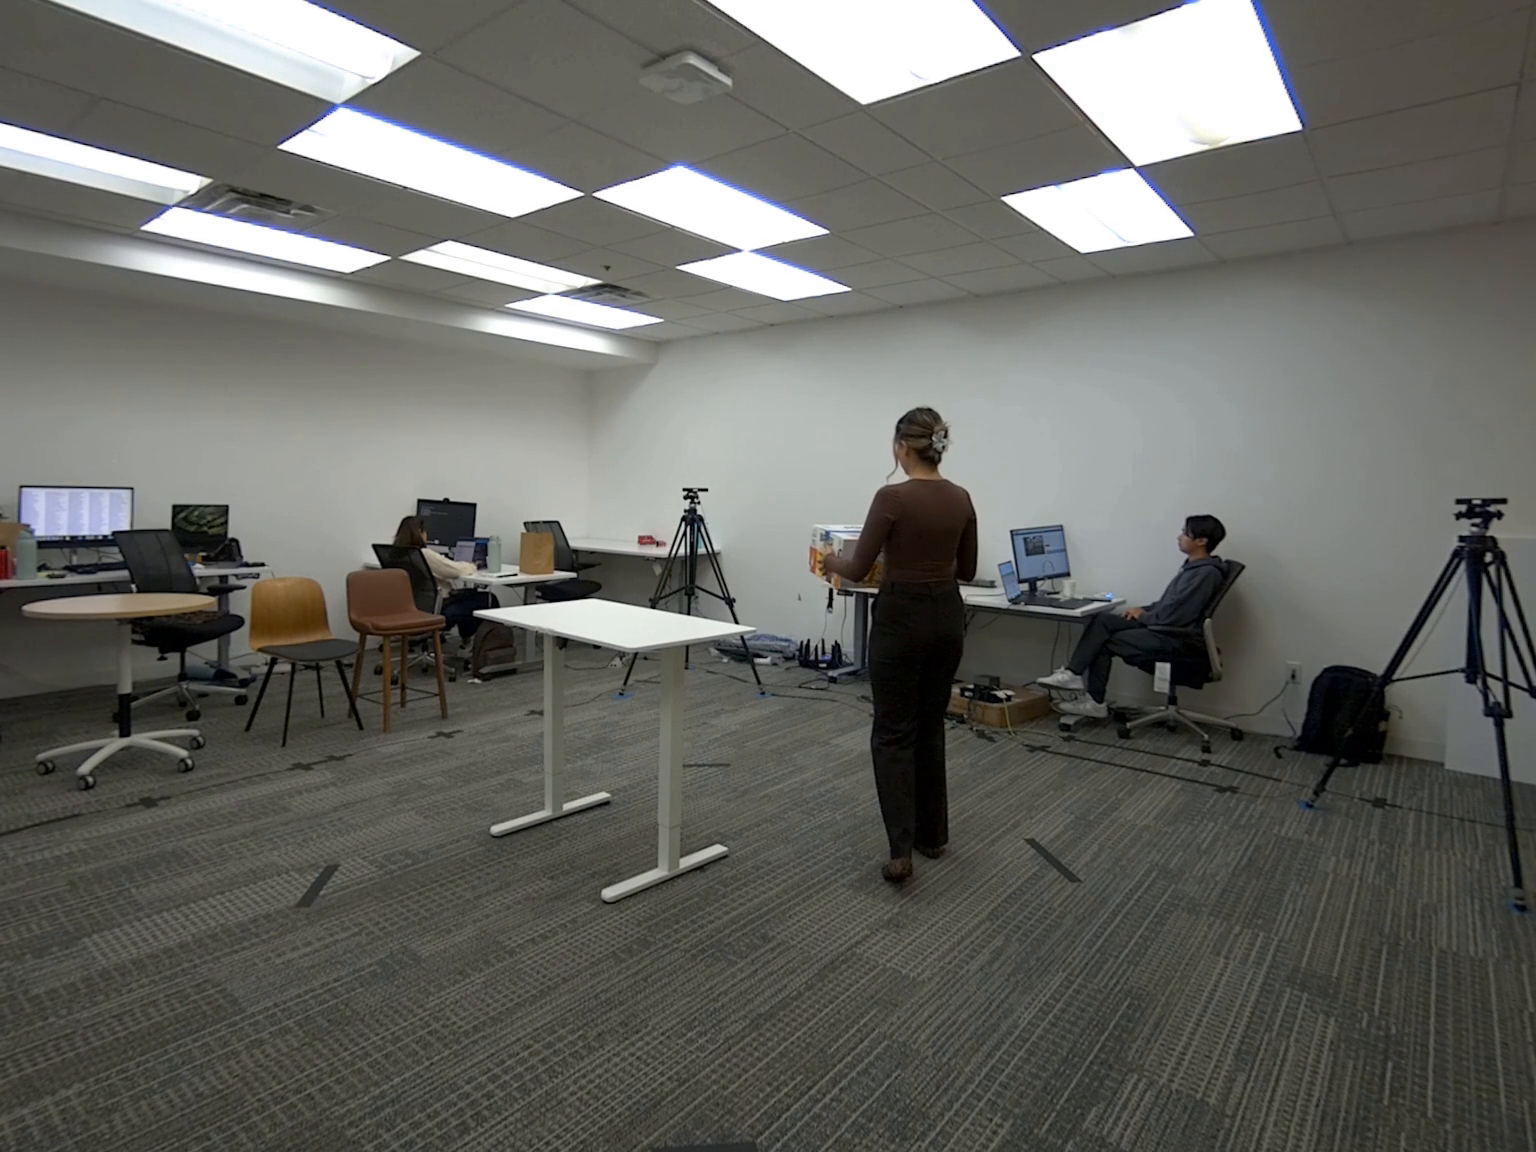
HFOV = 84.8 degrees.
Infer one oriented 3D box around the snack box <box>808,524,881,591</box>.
[{"bbox_3d":[0.412,-0.089,3.540,0.398,0.204,0.350,-1,12,-17],"label":"snack box"}]
